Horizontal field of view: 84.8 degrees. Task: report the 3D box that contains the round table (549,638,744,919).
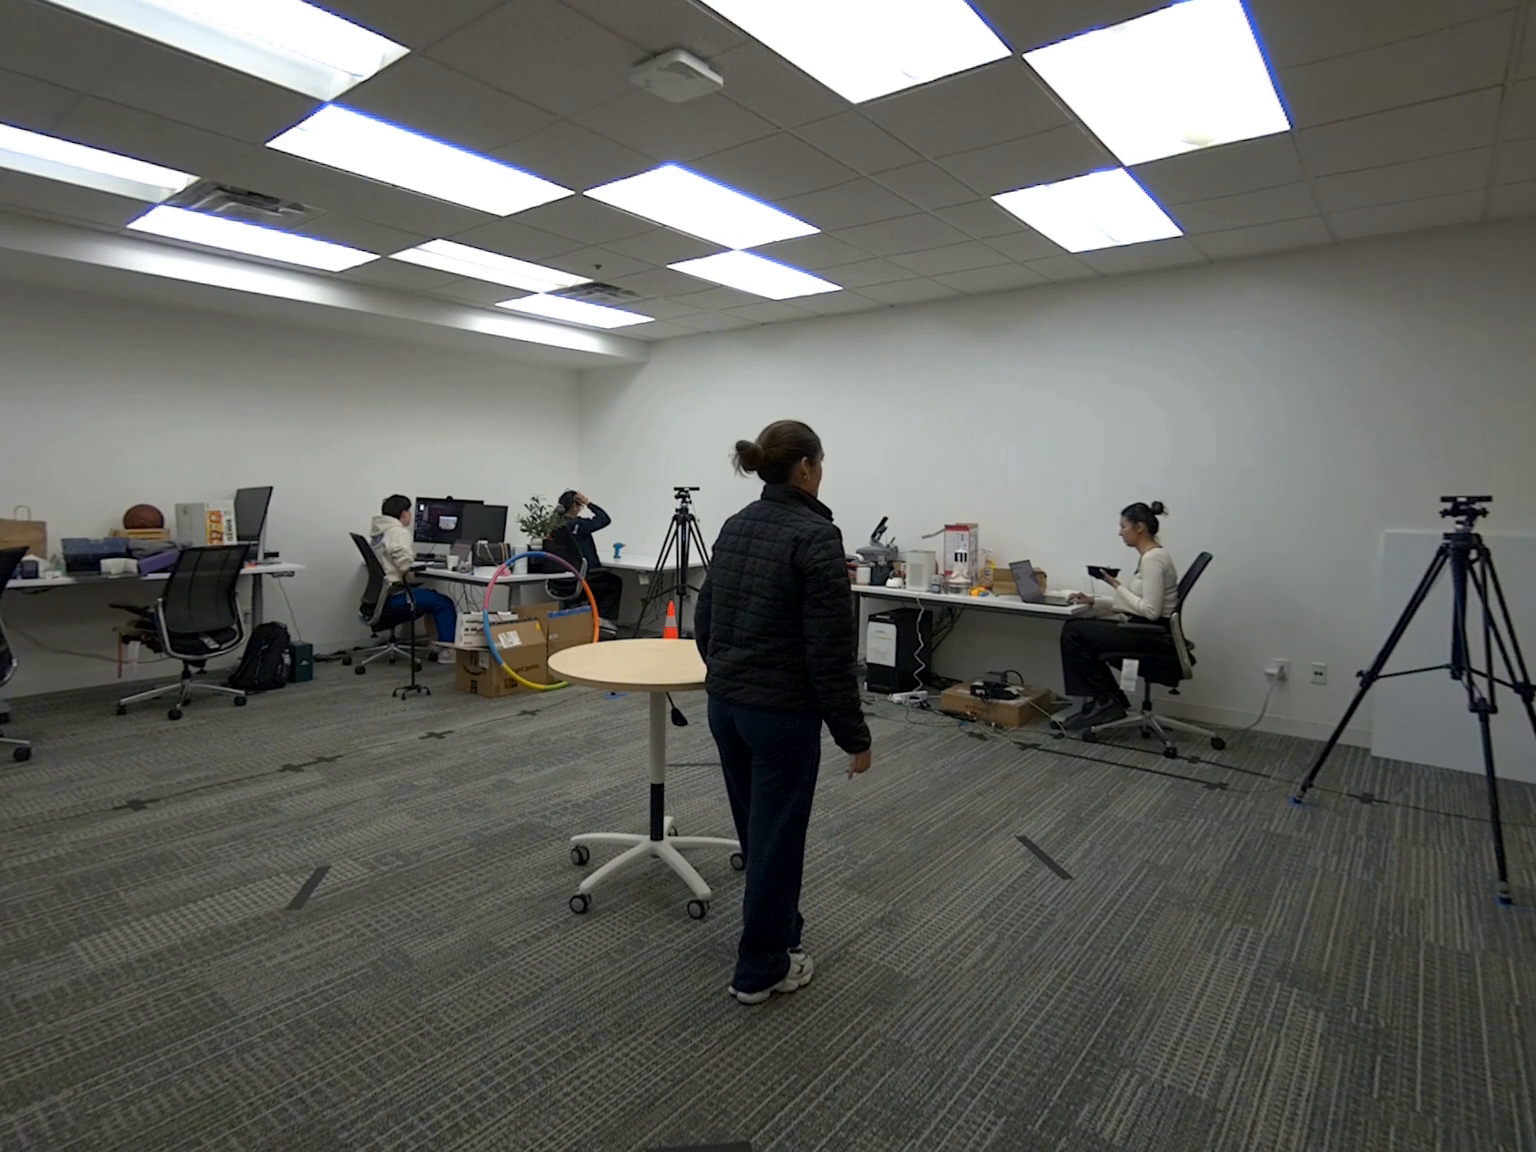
[{"bbox_3d":[-0.369,0.675,3.027,0.784,0.784,0.789,0,4,-2],"label":"round table"}]
